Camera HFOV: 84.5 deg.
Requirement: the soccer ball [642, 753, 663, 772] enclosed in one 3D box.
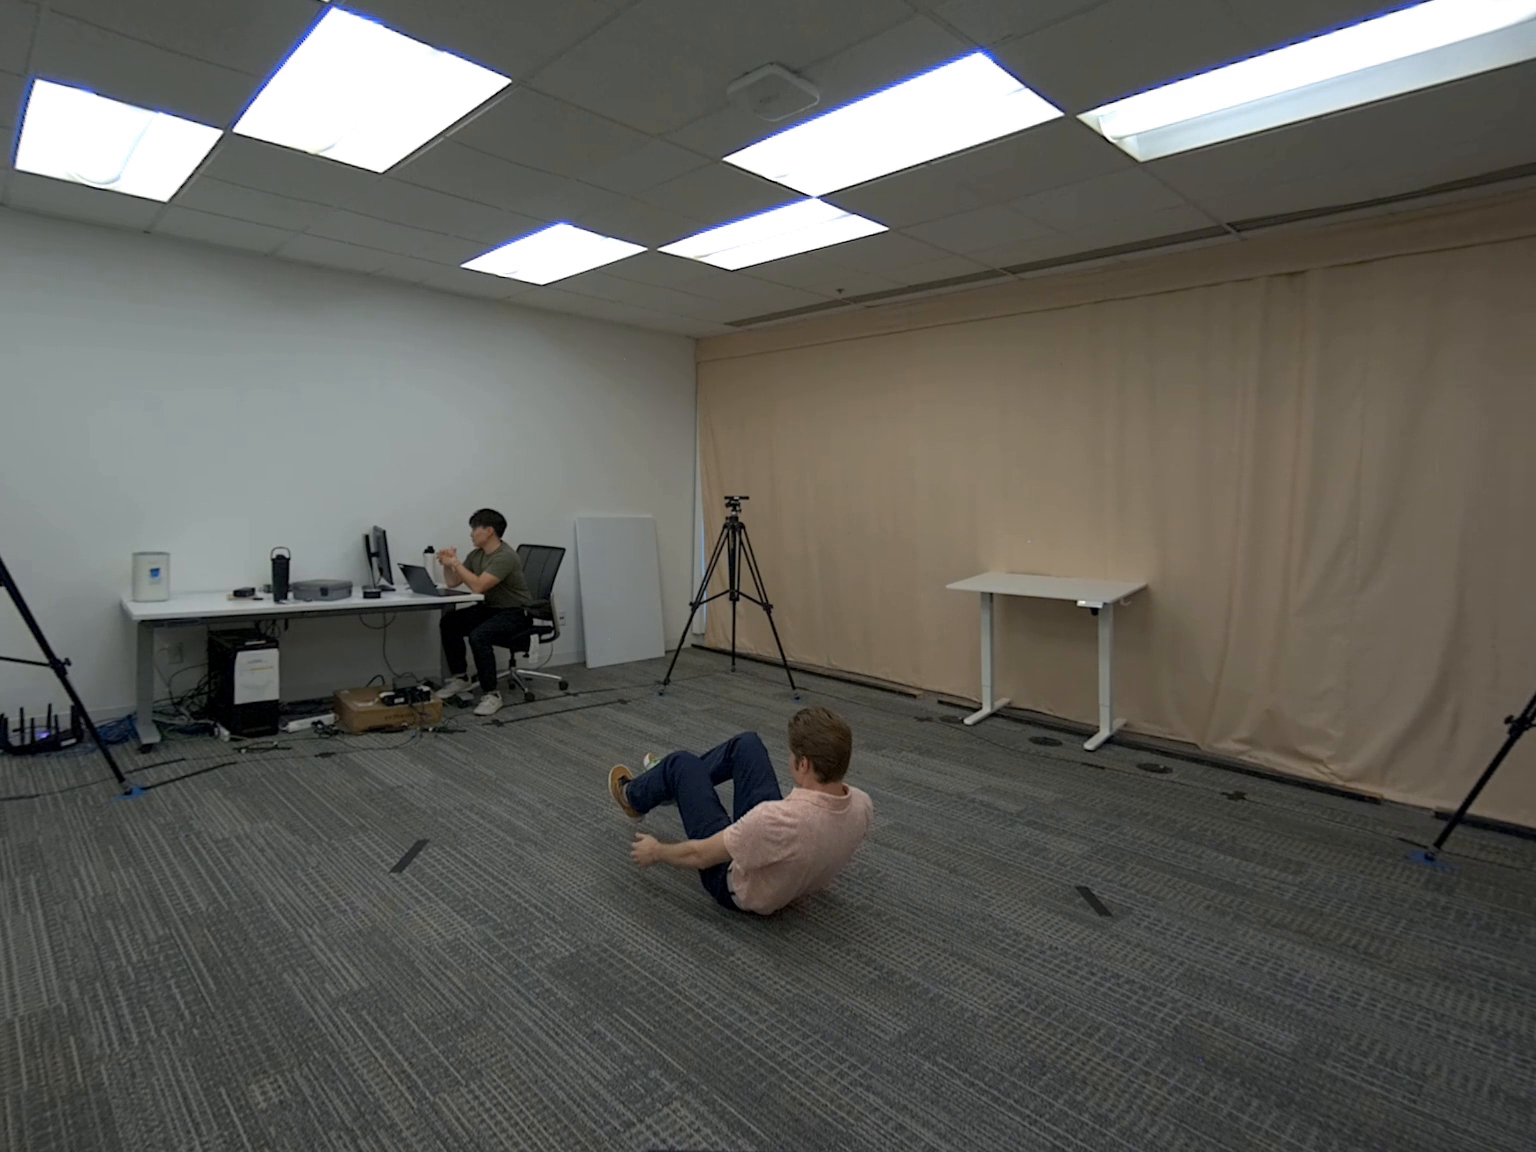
[{"bbox_3d":[-0.400,0.810,3.288,0.187,0.187,0.188,1,4,-1],"label":"soccer ball"}]
